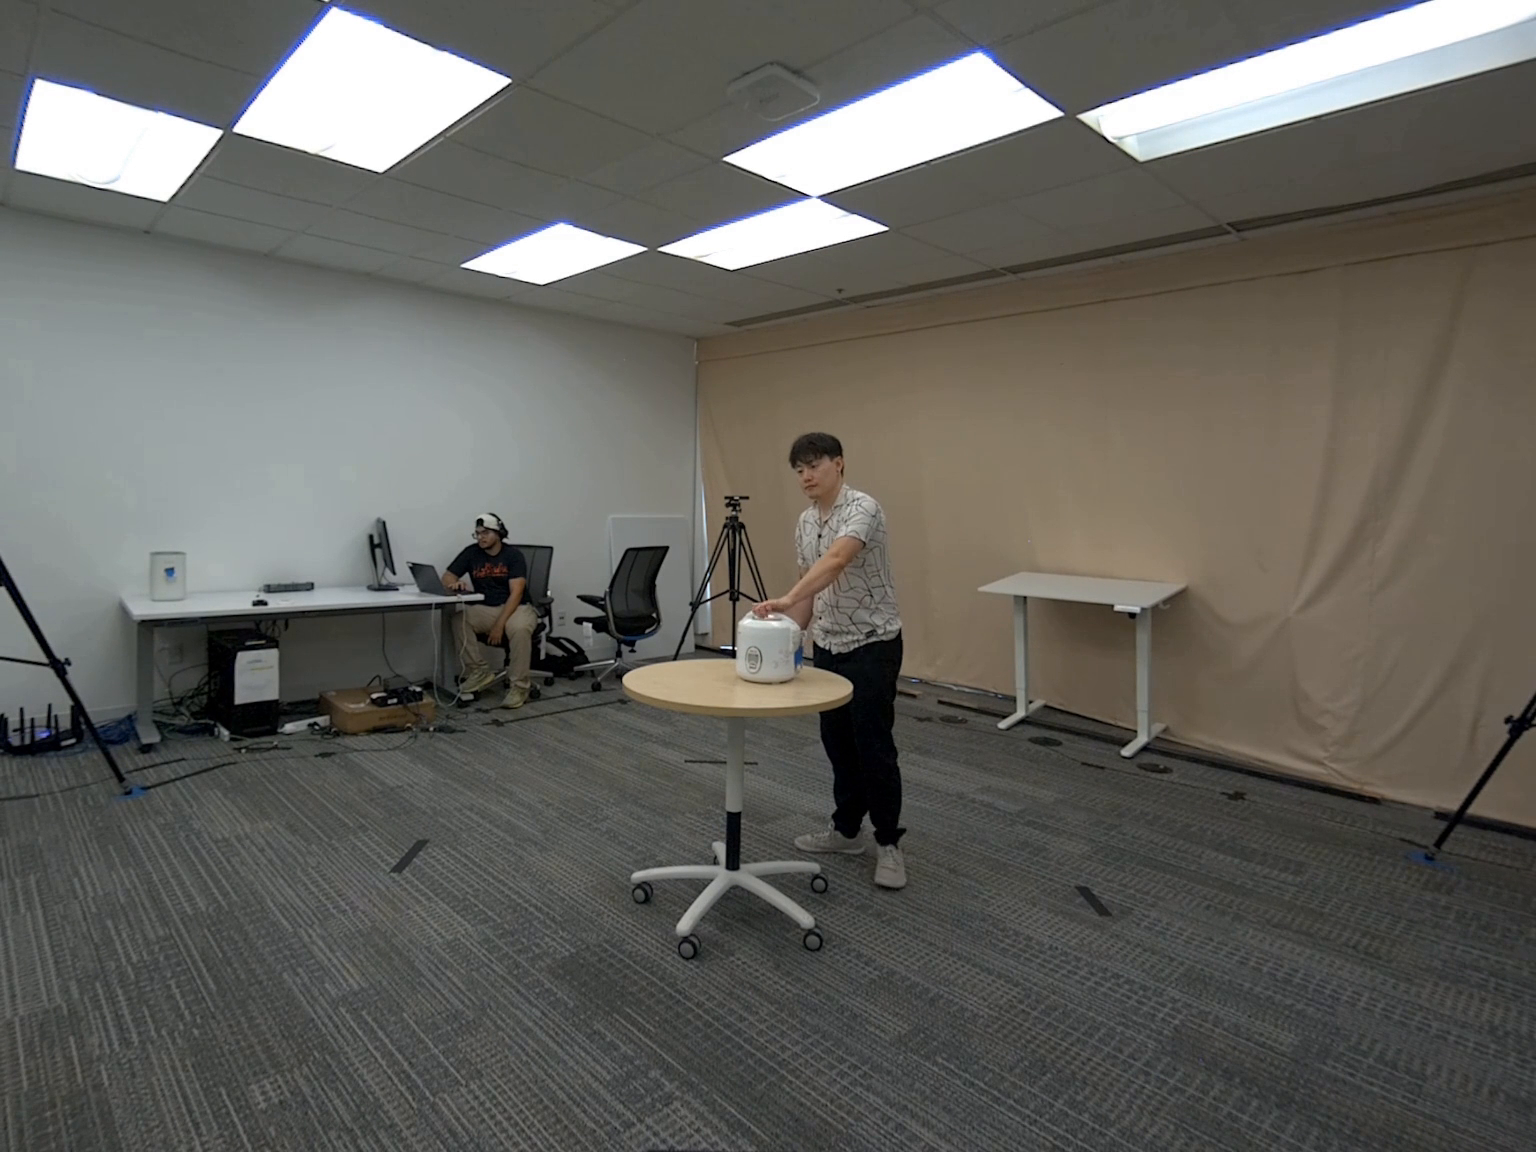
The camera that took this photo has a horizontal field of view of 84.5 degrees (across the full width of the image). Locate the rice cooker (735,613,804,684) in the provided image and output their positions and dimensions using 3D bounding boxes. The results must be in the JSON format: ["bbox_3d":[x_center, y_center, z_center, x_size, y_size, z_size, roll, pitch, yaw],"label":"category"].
[{"bbox_3d":[-0.008,0.233,2.841,0.225,0.232,0.213,4,4,26],"label":"rice cooker"}]
